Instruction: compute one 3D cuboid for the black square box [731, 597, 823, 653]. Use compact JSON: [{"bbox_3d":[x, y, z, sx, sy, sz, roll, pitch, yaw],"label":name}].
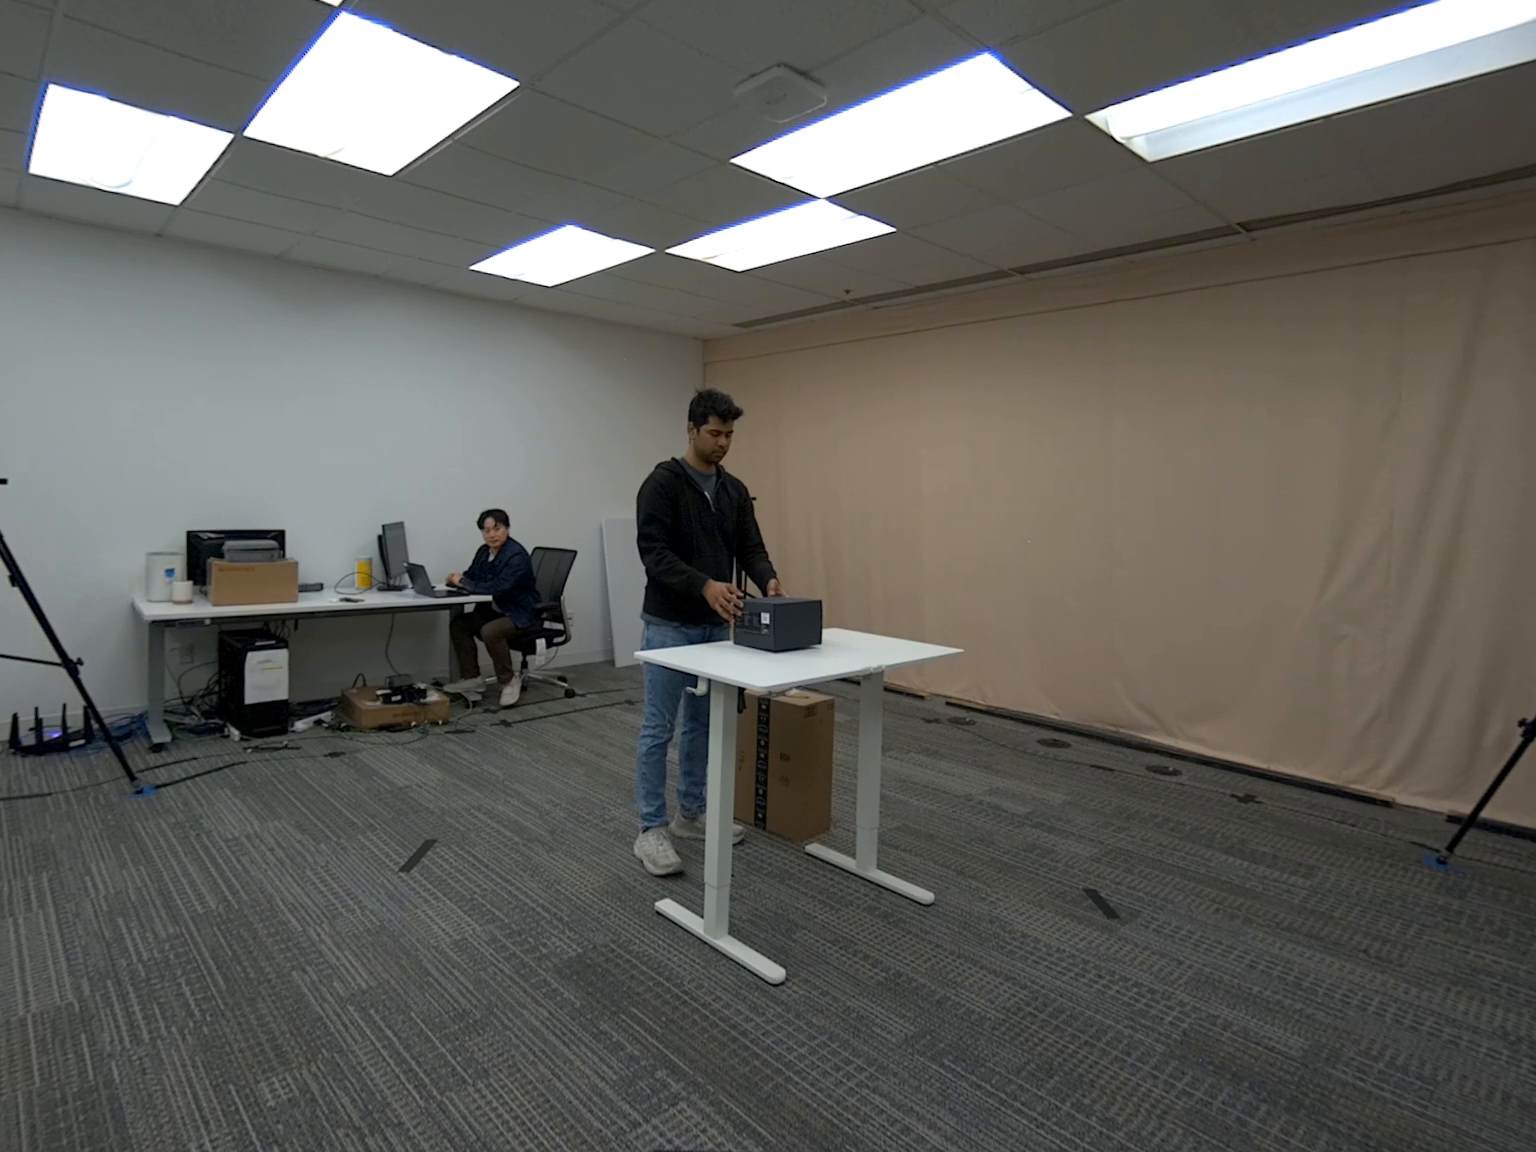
[{"bbox_3d":[0.035,0.156,2.921,0.223,0.156,0.222,-2,2,-41],"label":"black square box"}]
